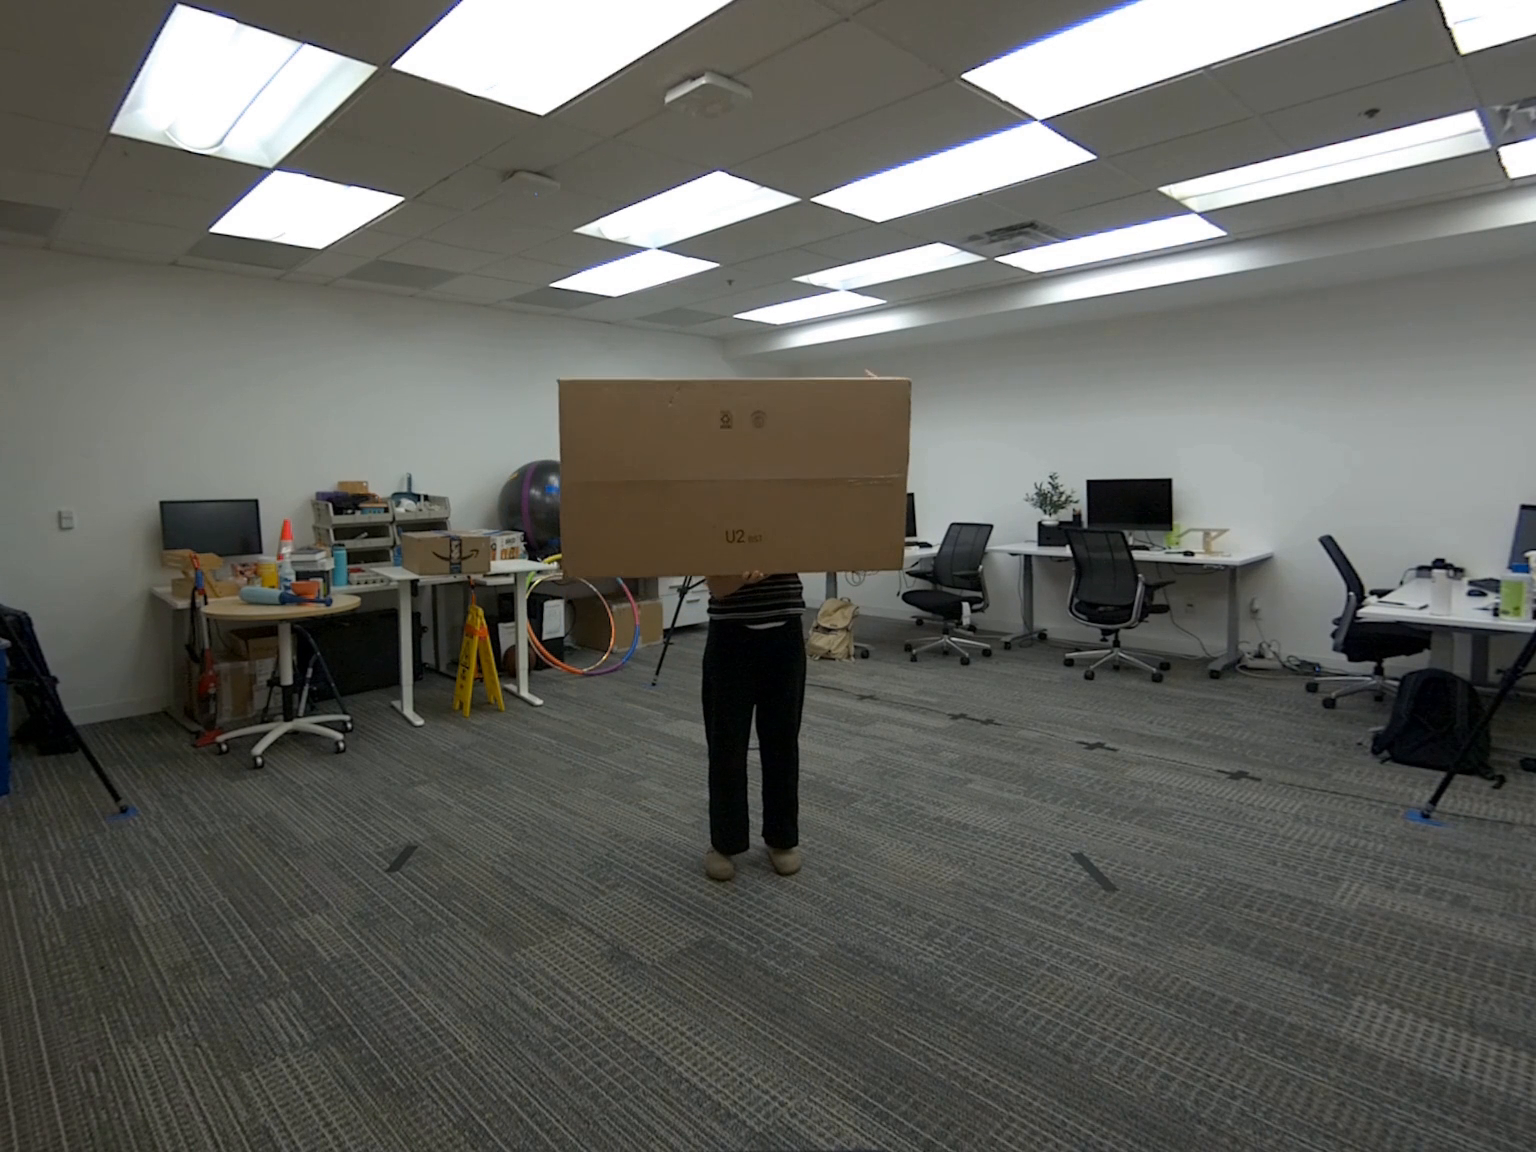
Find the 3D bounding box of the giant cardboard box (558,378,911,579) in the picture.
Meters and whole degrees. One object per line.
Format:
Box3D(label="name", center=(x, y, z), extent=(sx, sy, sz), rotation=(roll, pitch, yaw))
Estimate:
Box3D(label="giant cardboard box", center=(-0.128, -0.330, 2.680), extent=(1.019, 0.572, 0.433), rotation=(-1, 11, -7))
